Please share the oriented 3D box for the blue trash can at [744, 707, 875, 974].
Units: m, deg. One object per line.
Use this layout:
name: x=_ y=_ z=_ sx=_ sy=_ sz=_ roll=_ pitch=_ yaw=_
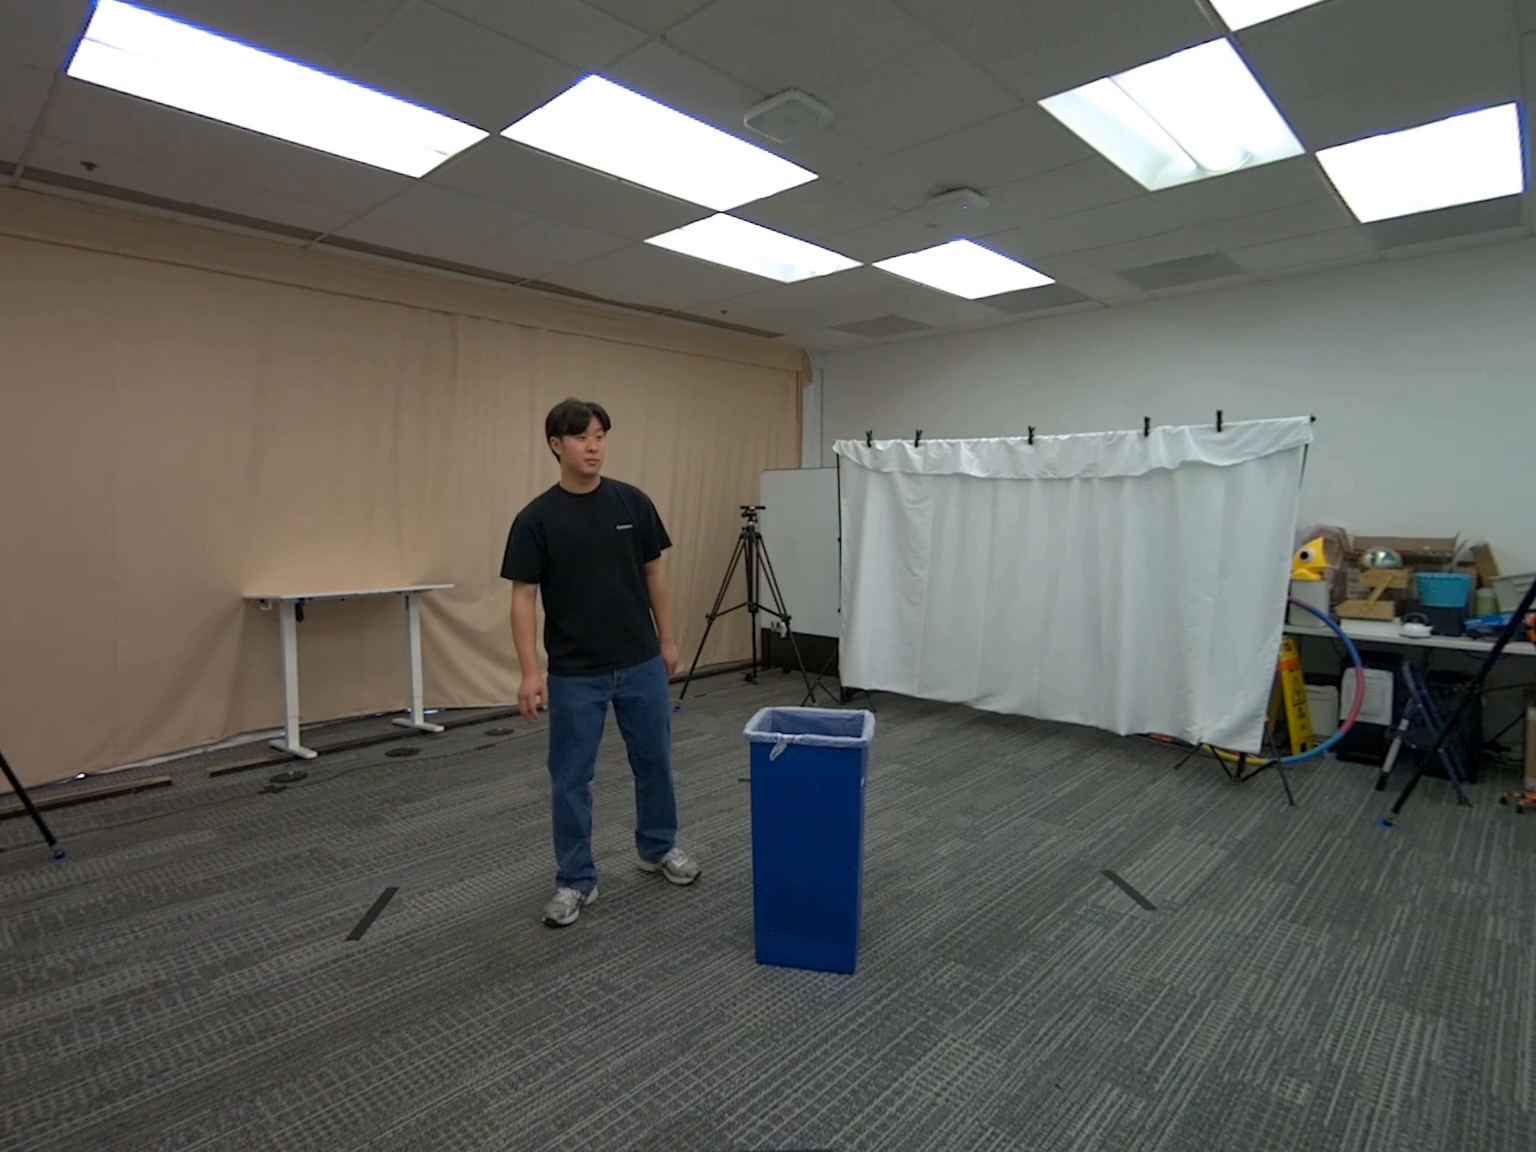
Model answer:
blue trash can: x=0.145 y=0.815 z=2.647 sx=0.383 sy=0.713 sz=0.369 roll=1 pitch=1 yaw=11
